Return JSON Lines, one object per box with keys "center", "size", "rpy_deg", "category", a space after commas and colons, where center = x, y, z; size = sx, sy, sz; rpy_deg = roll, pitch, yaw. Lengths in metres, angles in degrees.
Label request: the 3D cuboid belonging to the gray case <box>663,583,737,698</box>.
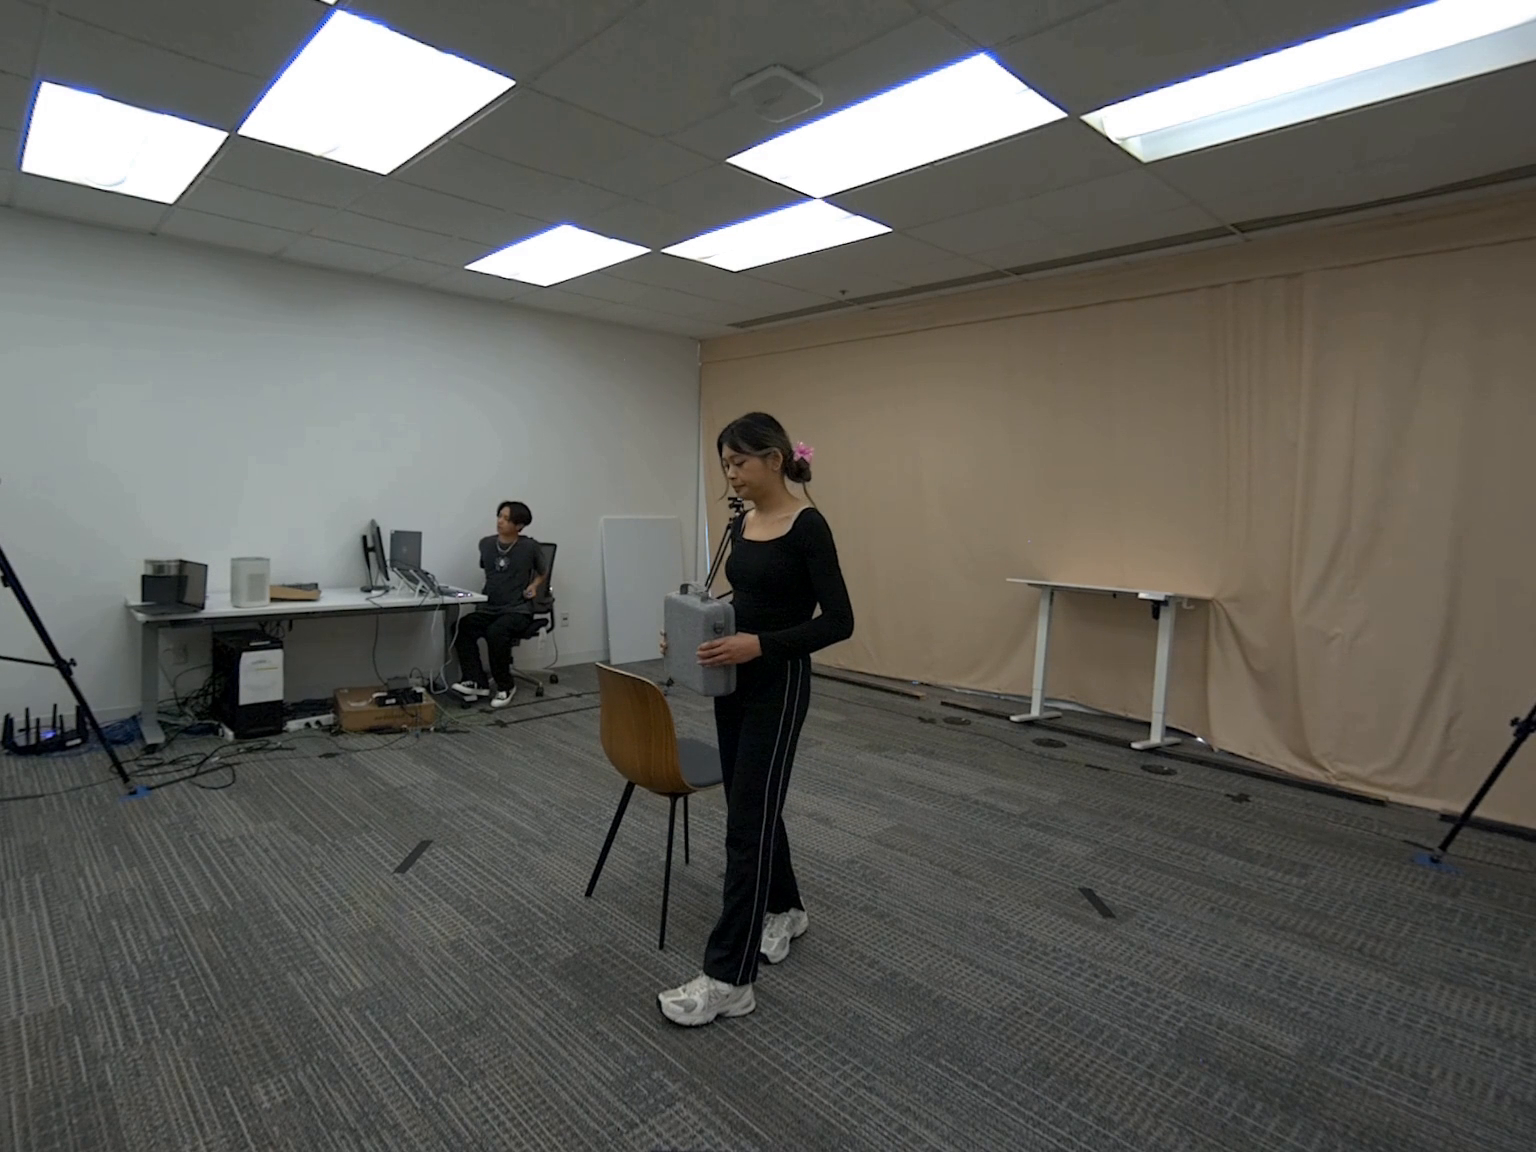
{"center": [-0.190, 0.177, 2.304], "size": [0.102, 0.259, 0.263], "rpy_deg": [-7, 11, -30], "category": "gray case"}
